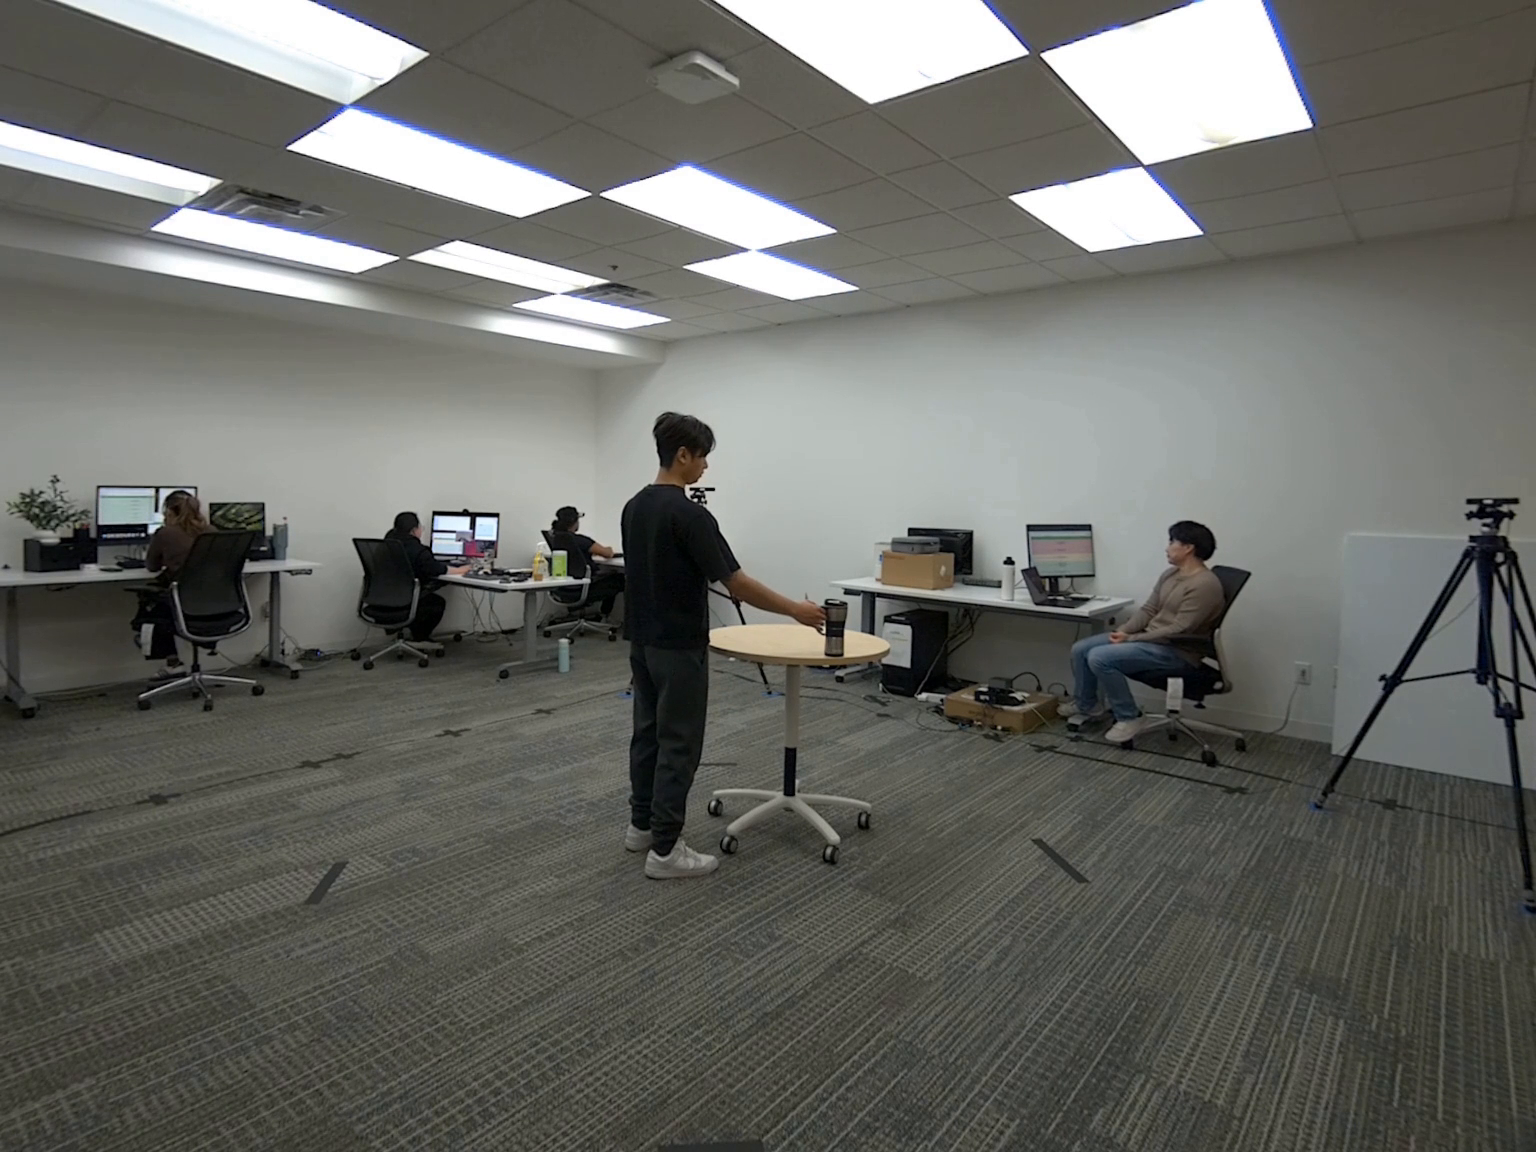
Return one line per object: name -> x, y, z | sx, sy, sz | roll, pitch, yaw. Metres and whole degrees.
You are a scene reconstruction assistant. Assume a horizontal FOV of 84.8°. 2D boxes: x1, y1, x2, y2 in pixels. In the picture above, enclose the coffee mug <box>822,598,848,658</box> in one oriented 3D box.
coffee mug -> 0.225, 0.192, 3.151 | 0.126, 0.201, 0.085 | 8, 10, 37
